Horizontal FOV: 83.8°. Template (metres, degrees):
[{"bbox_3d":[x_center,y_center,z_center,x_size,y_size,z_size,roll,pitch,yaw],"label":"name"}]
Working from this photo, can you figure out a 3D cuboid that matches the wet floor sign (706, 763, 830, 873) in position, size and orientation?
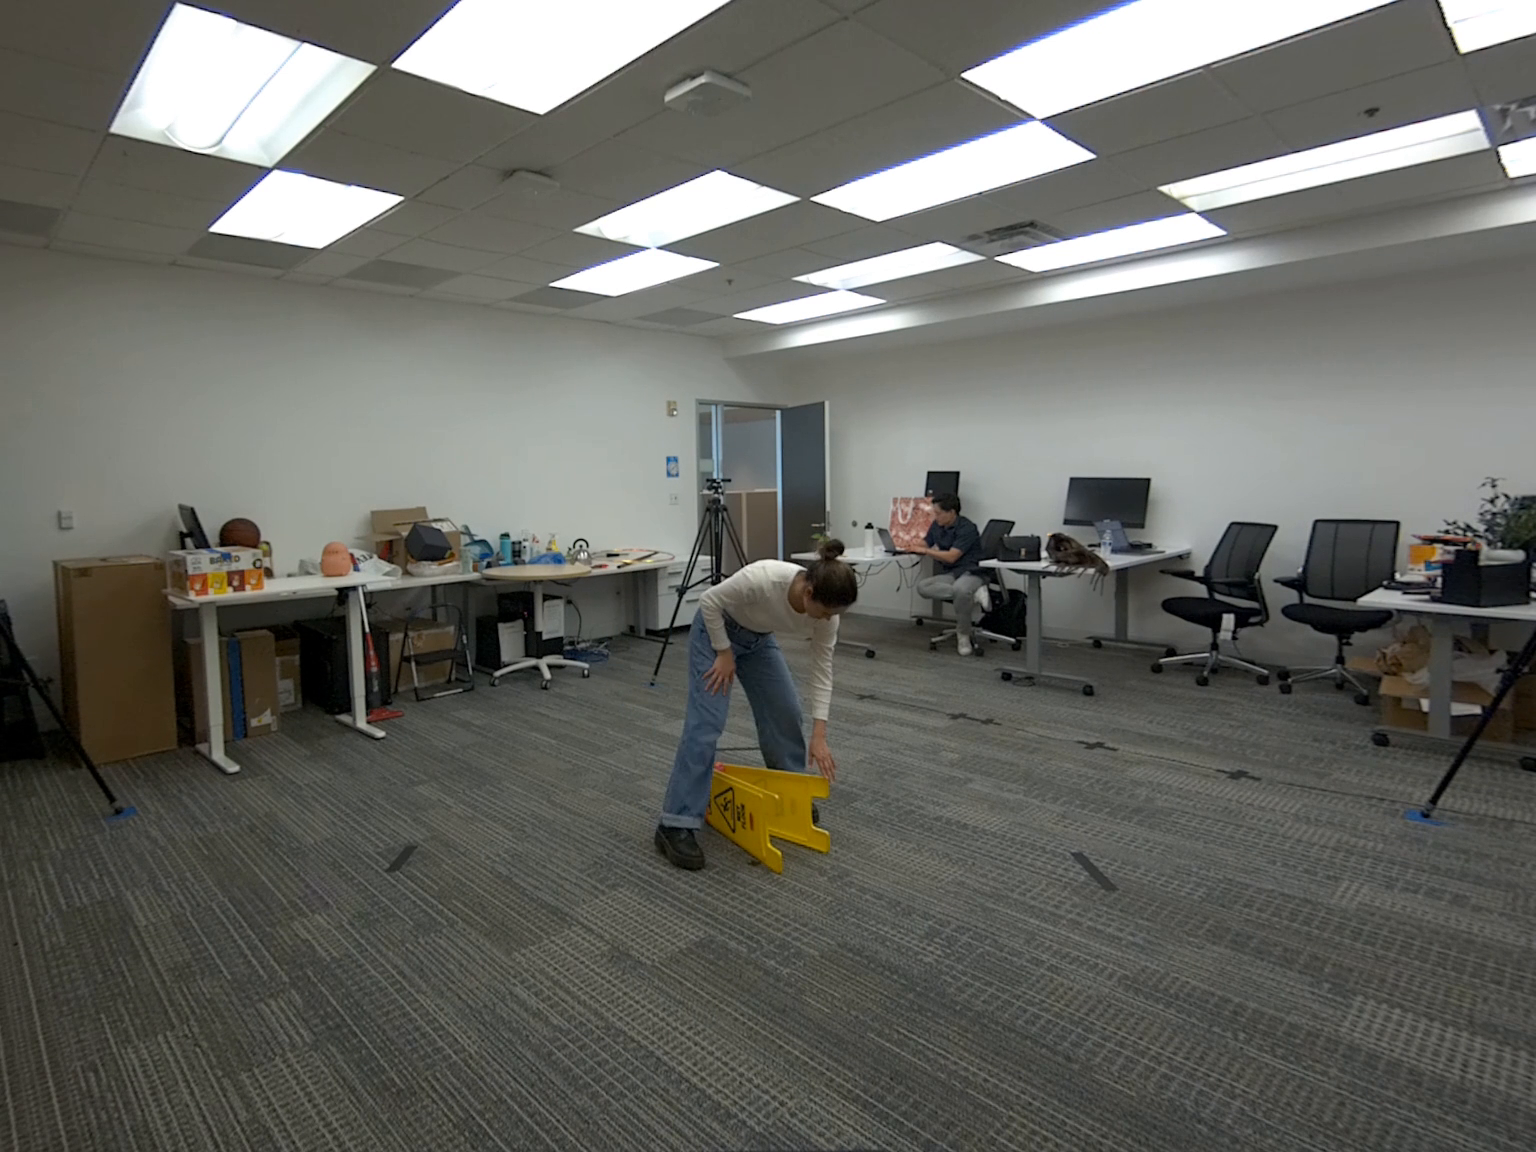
[{"bbox_3d":[-0.097,0.890,3.334,0.282,0.281,0.665,-5,6,-43],"label":"wet floor sign"}]
